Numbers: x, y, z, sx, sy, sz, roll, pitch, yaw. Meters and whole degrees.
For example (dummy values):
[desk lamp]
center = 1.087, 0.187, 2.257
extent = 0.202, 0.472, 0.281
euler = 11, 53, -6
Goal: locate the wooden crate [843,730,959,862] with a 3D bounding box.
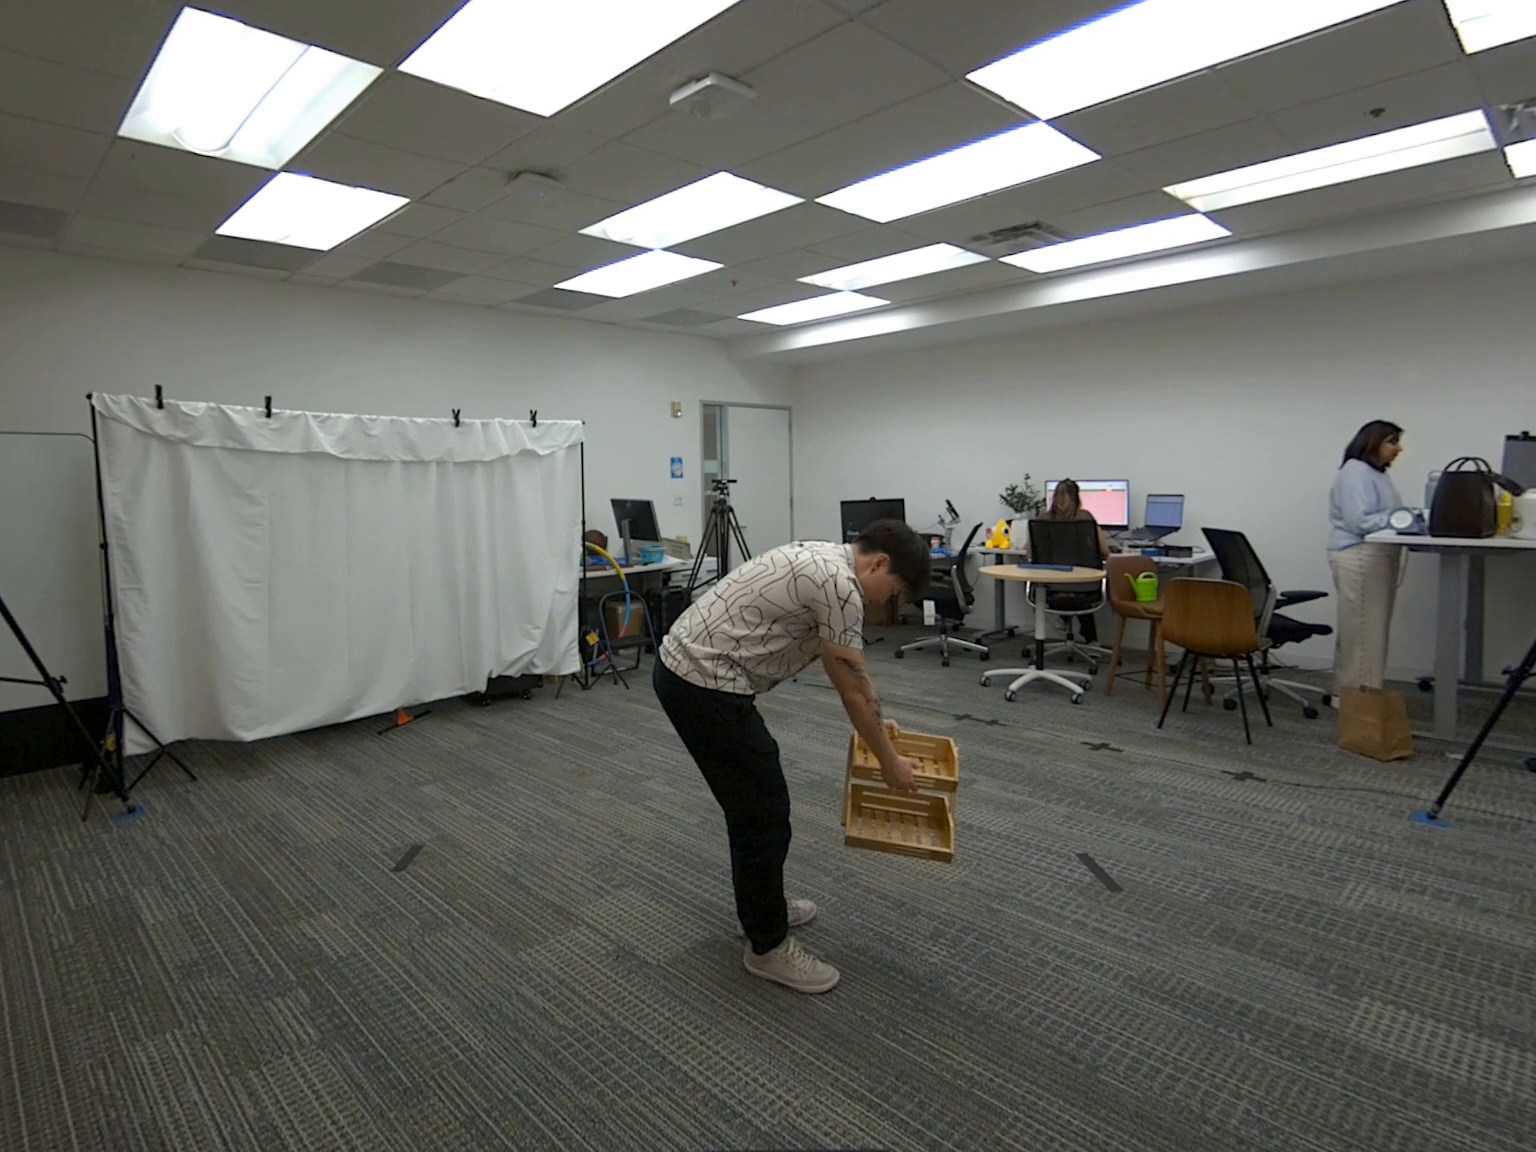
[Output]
[wooden crate]
center = 0.396, 0.631, 2.525
extent = 0.327, 0.271, 0.302
euler = 7, 10, 5
